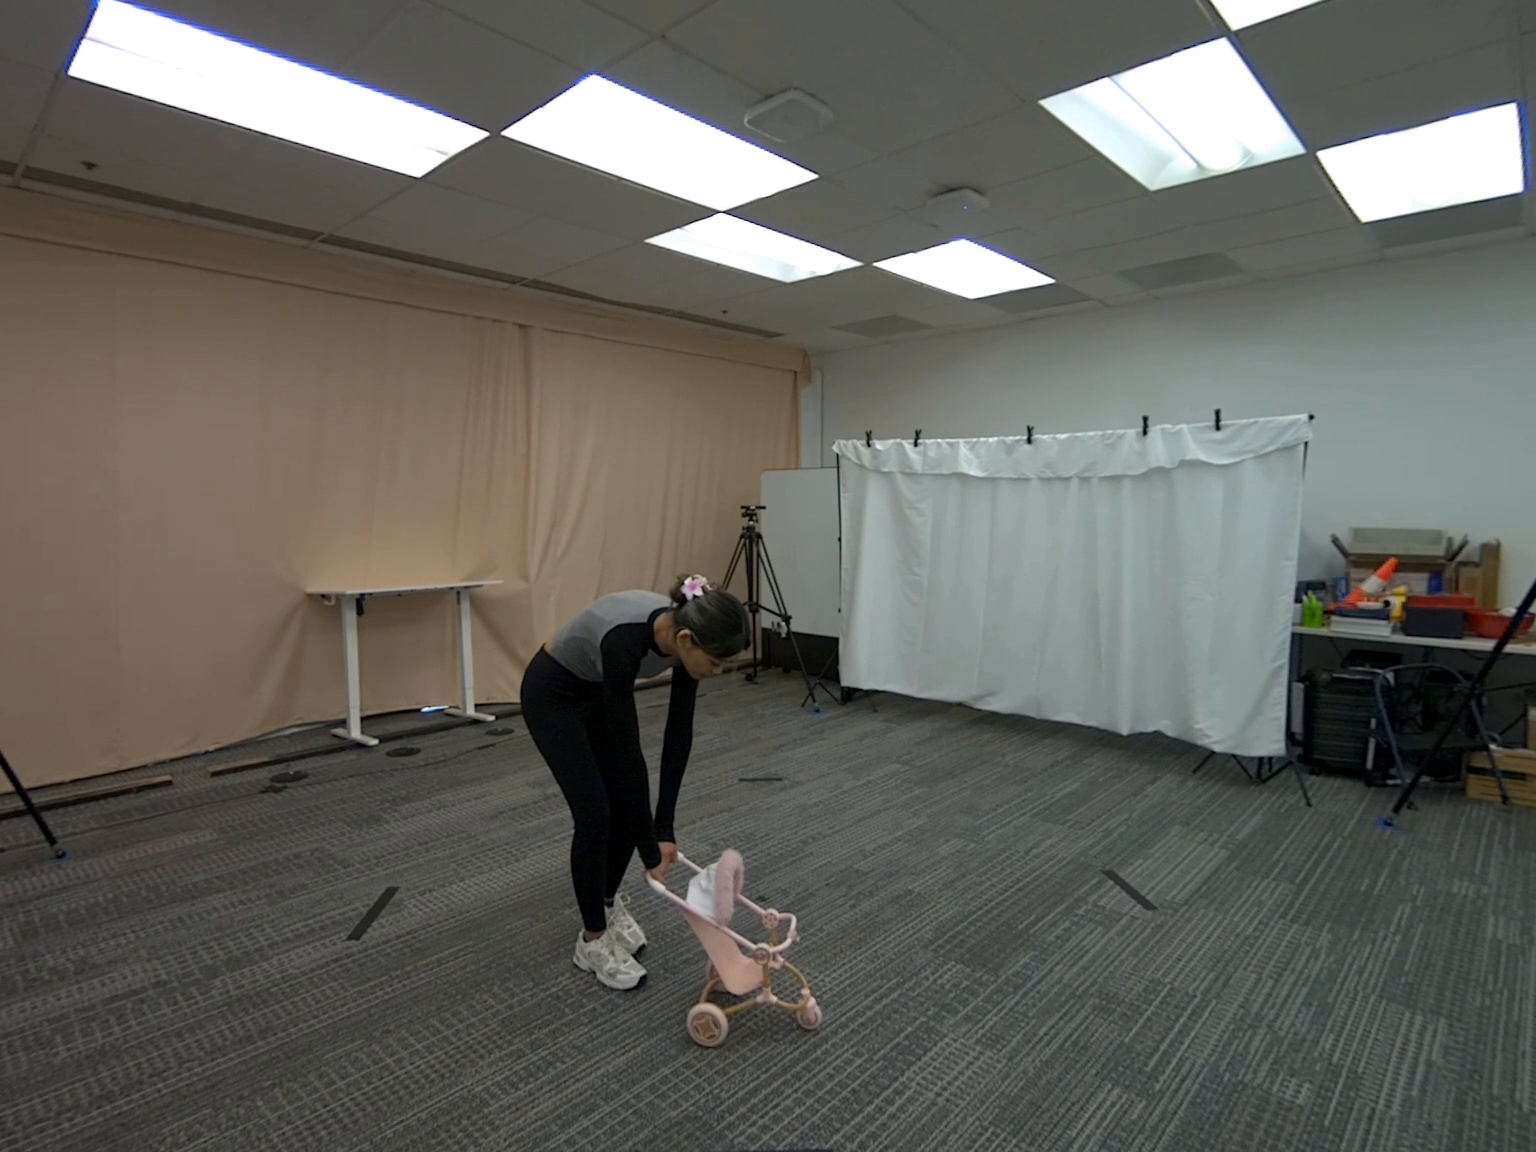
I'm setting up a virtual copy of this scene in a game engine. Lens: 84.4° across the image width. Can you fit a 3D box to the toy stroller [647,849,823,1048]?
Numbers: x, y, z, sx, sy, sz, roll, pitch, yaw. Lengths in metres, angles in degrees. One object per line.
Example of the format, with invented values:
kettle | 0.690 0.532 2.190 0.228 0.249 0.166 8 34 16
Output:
toy stroller | -0.078 0.984 2.266 0.346 0.536 0.277 -17 -1 15
